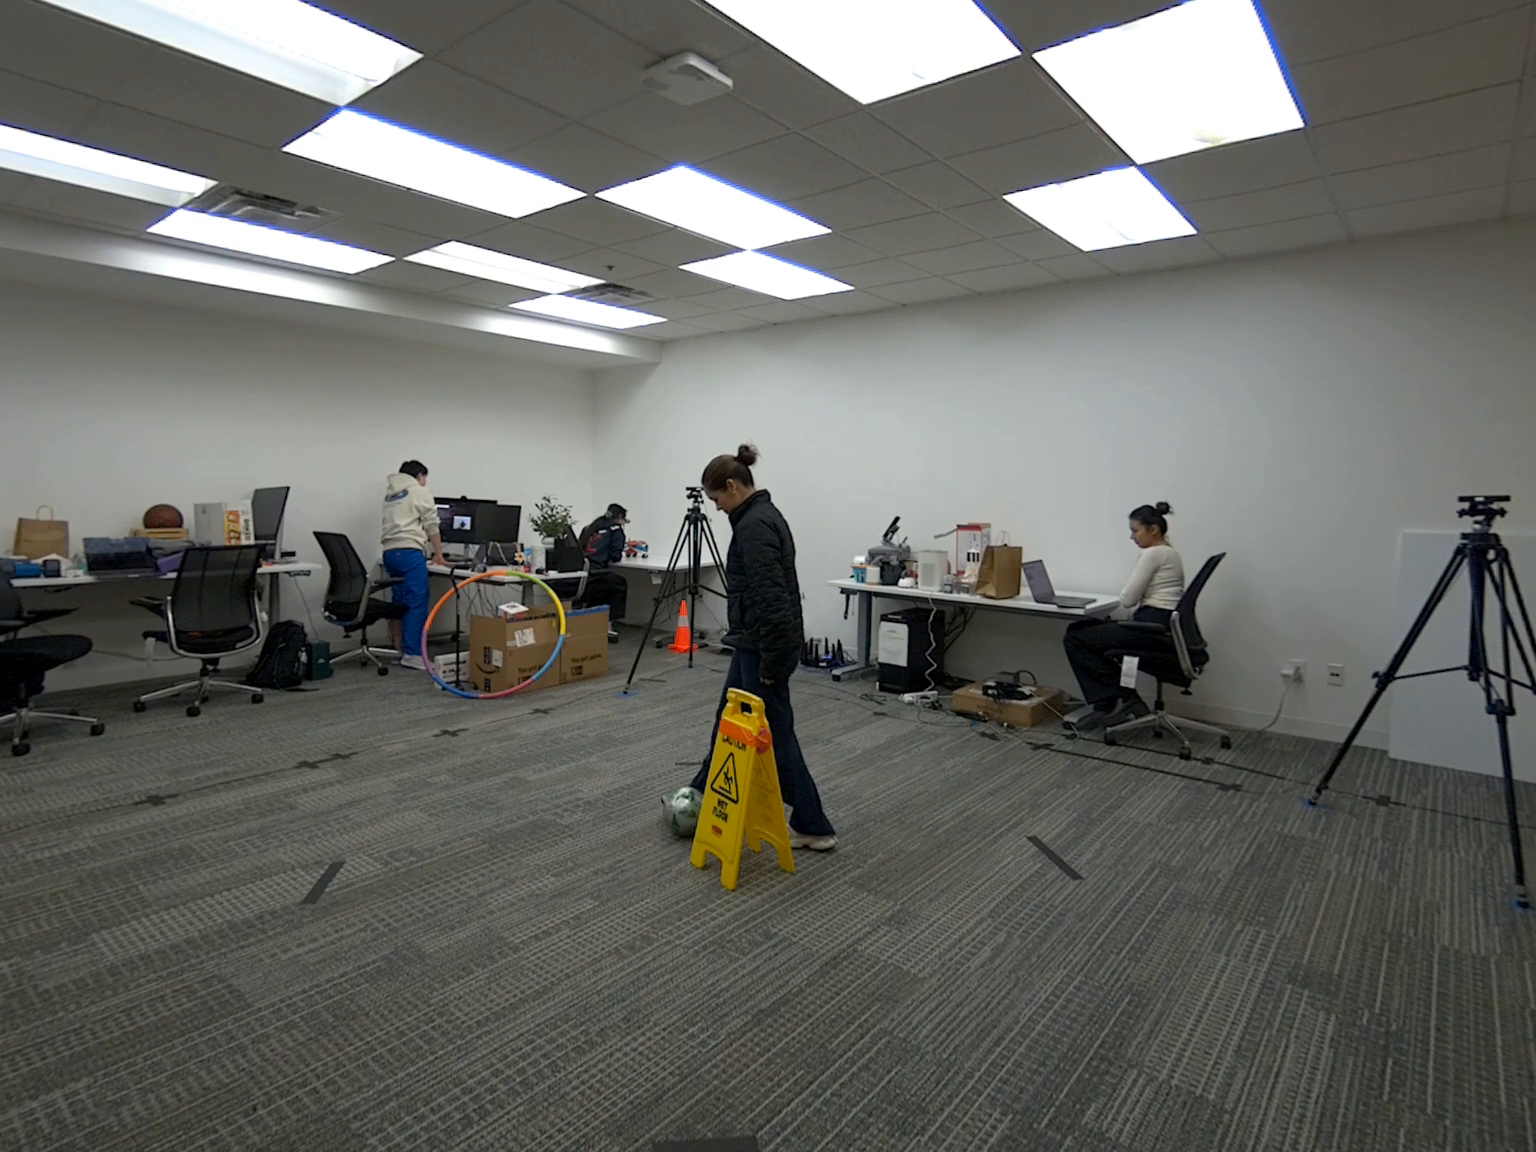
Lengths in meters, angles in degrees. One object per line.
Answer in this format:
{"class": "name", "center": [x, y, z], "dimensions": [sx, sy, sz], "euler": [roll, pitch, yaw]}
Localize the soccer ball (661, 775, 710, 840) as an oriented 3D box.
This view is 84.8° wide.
{"class": "soccer ball", "center": [-0.335, 0.933, 3.405], "dimensions": [0.187, 0.187, 0.188], "euler": [1, 4, -2]}
